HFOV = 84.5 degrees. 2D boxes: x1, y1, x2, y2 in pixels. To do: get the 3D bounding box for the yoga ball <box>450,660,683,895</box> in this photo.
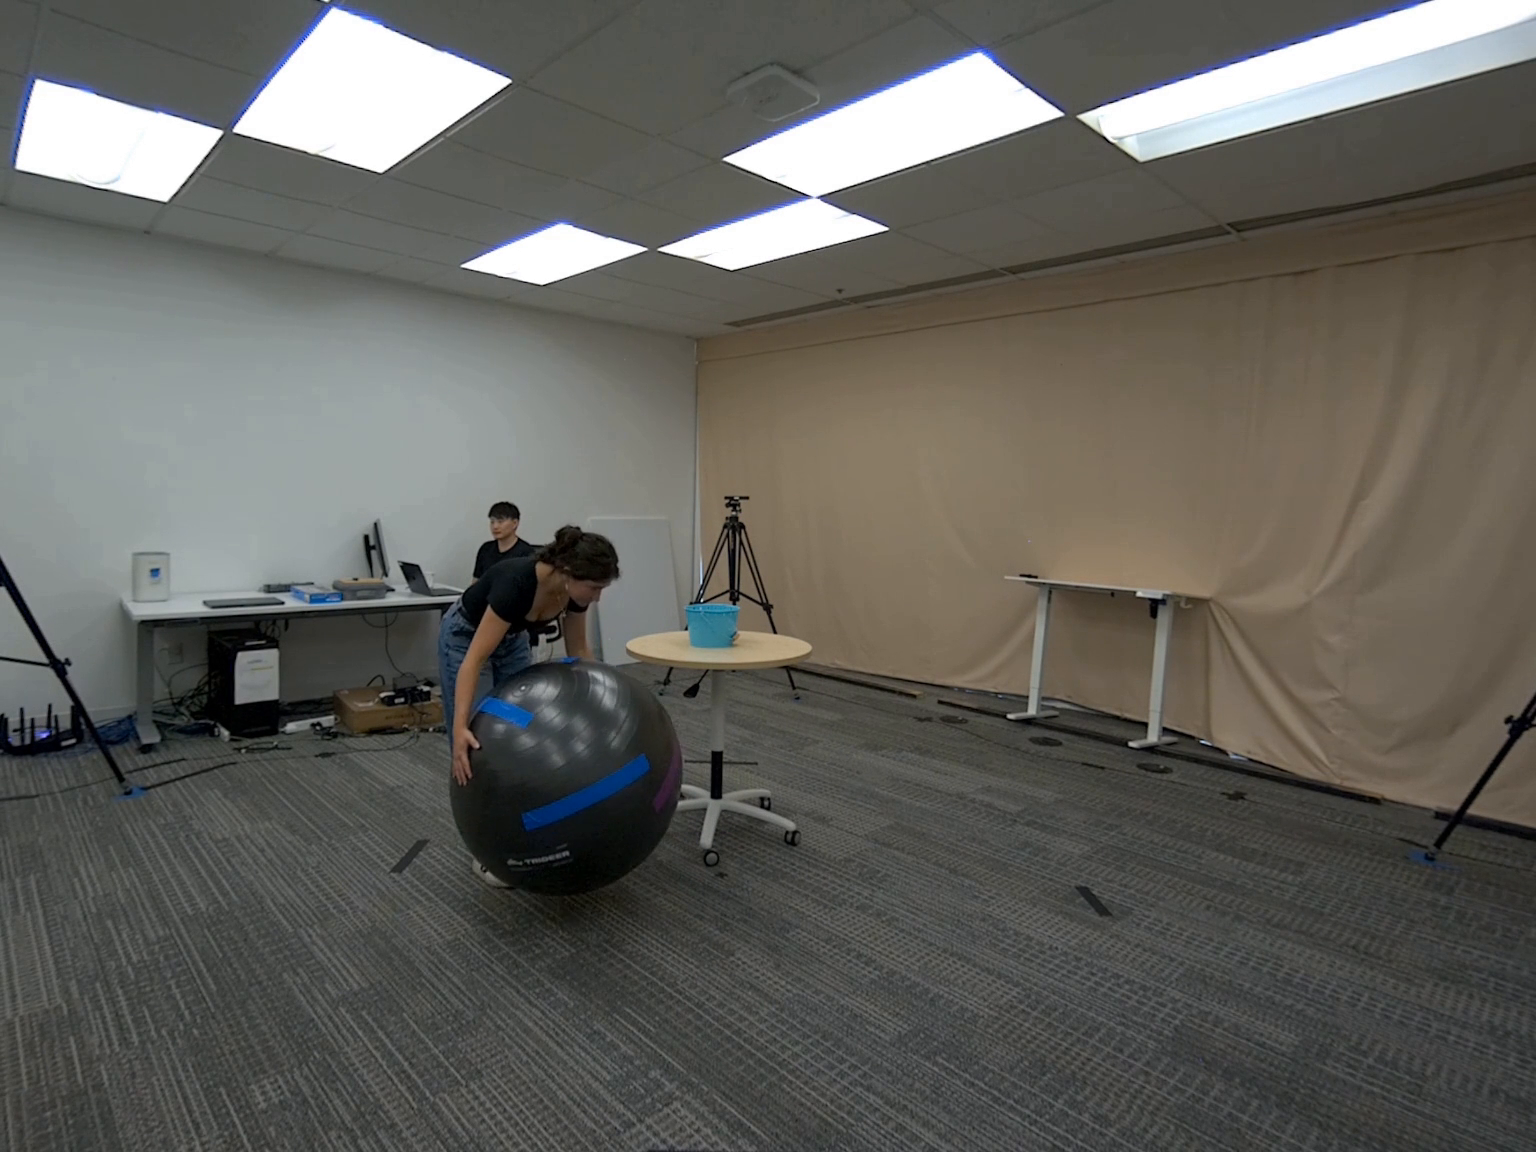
[{"bbox_3d":[-0.671,0.663,2.791,0.757,0.756,0.761,1,4,-1],"label":"yoga ball"}]
